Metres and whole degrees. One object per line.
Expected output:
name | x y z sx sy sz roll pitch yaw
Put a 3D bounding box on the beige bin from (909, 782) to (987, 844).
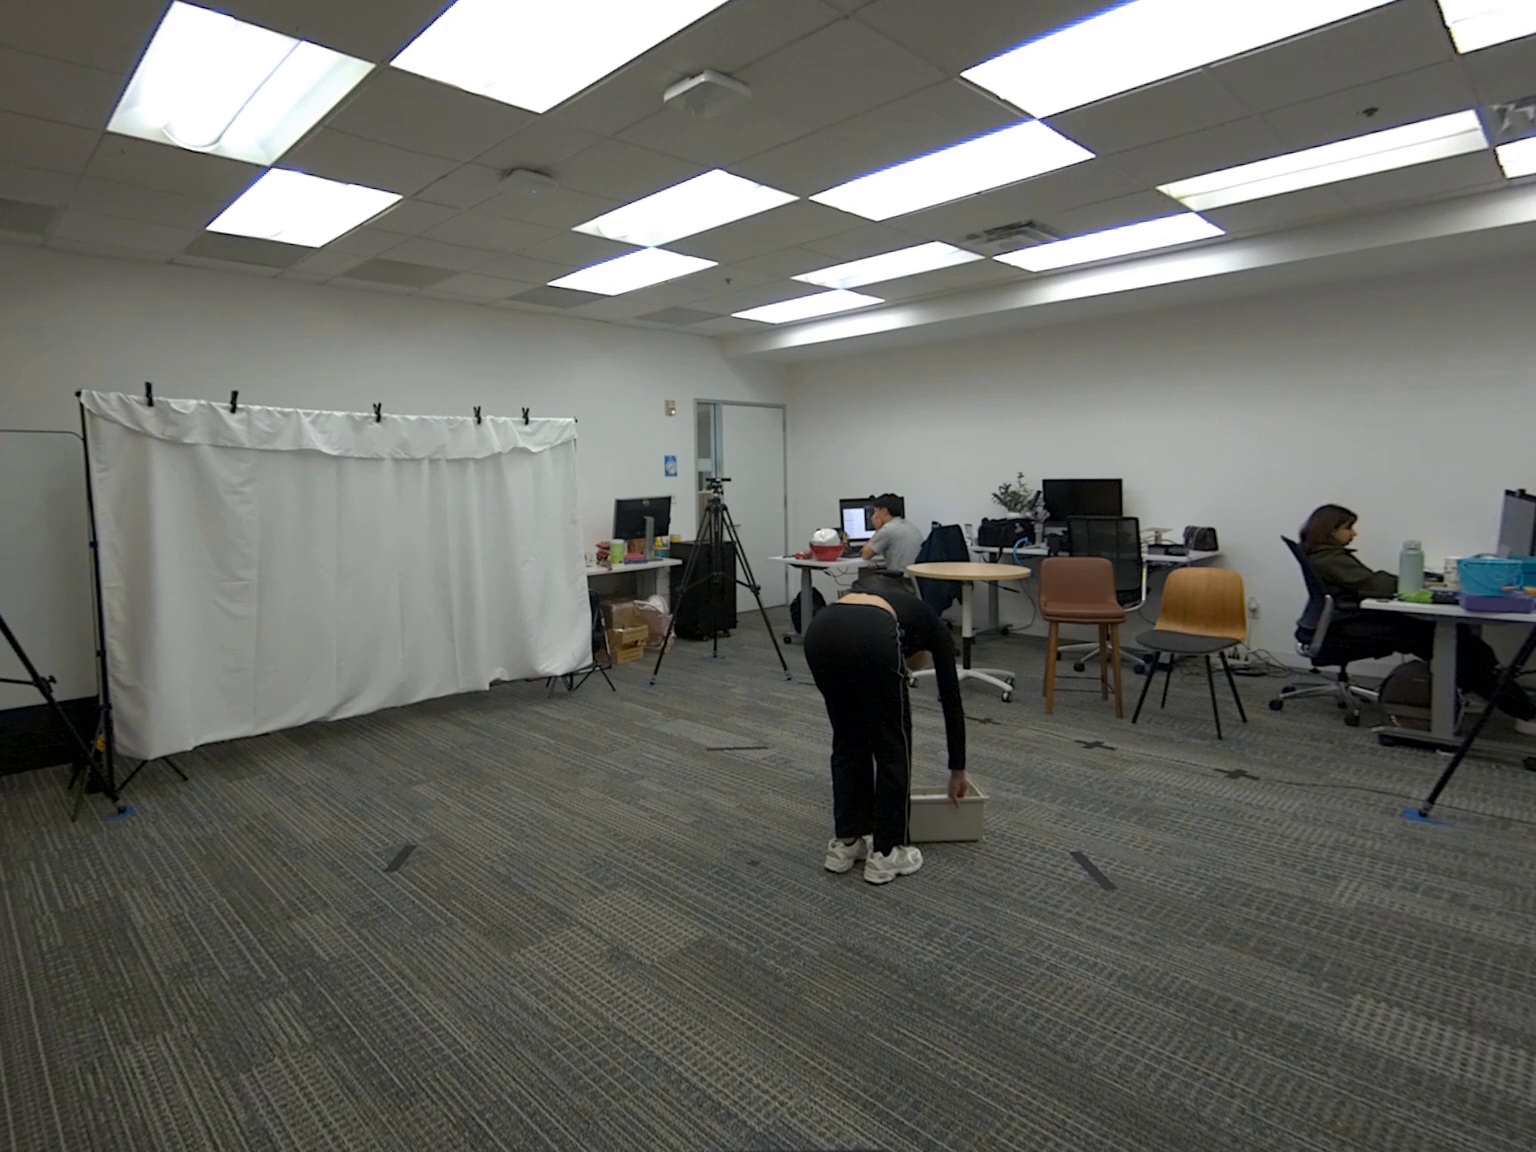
beige bin | 0.611 0.913 3.405 0.420 0.188 0.381 0 6 -5
